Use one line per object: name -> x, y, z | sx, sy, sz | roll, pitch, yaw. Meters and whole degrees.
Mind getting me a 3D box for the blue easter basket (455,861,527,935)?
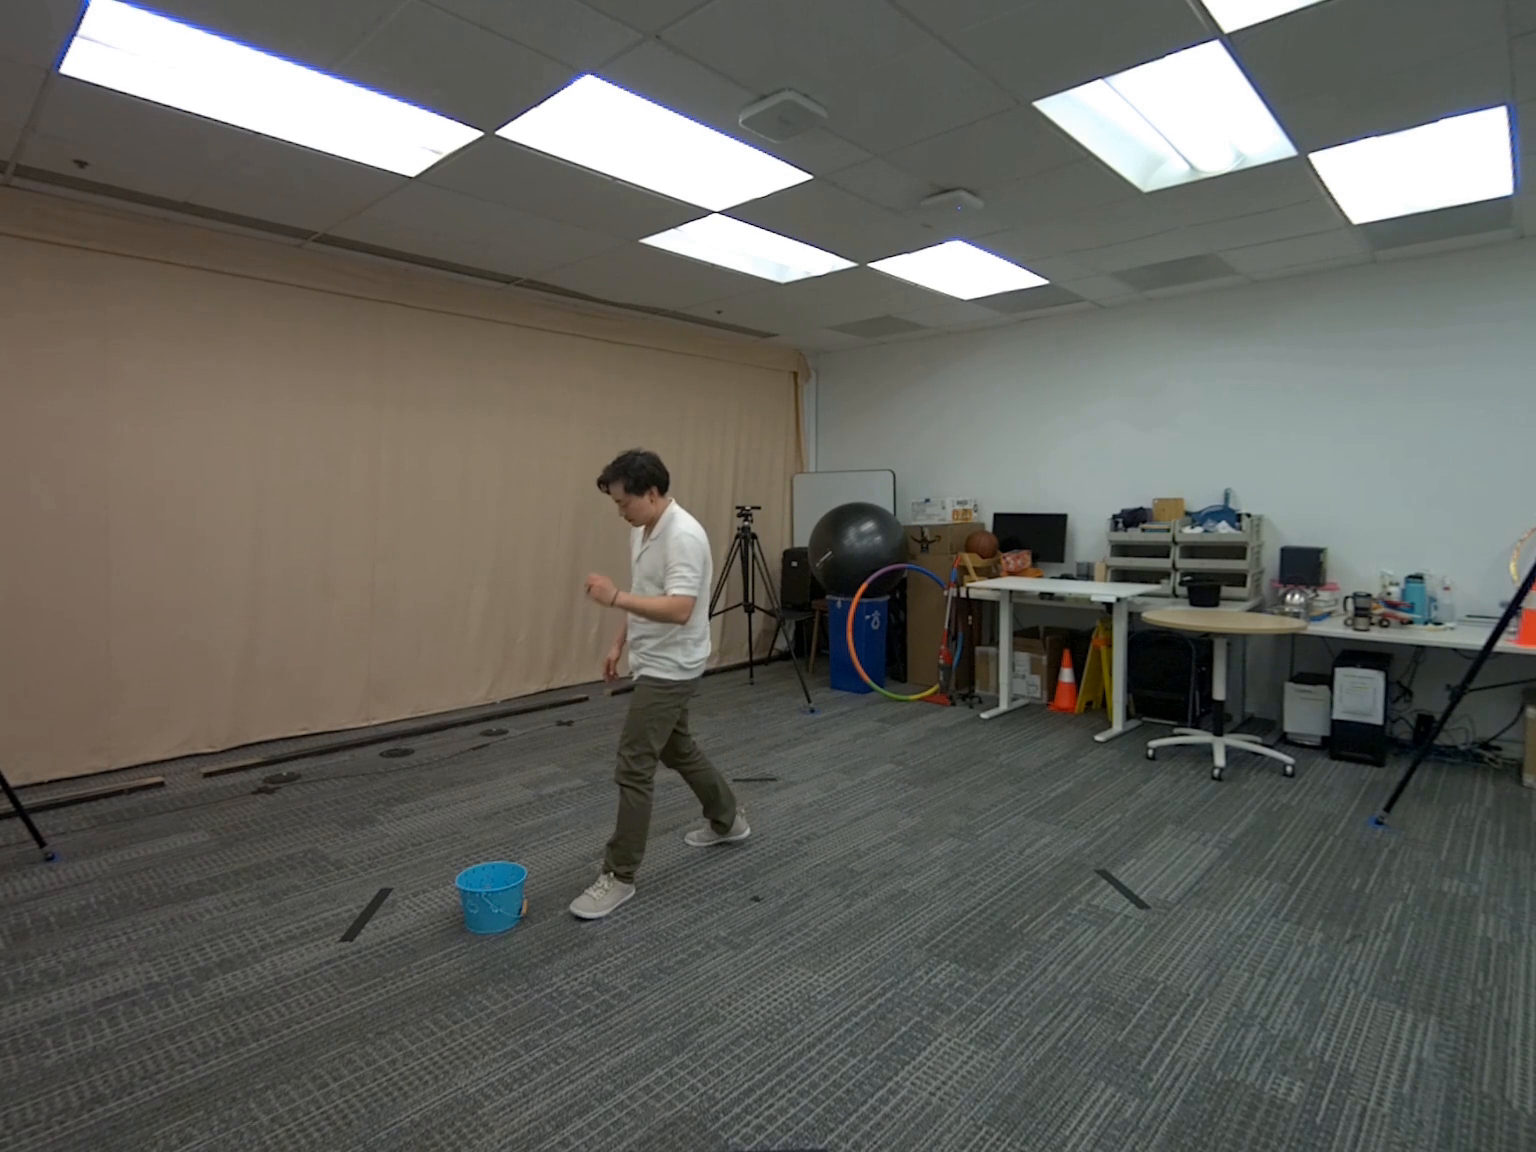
blue easter basket -> -0.924, 1.087, 2.832 | 0.243, 0.155, 0.244 | 0, 4, -2
